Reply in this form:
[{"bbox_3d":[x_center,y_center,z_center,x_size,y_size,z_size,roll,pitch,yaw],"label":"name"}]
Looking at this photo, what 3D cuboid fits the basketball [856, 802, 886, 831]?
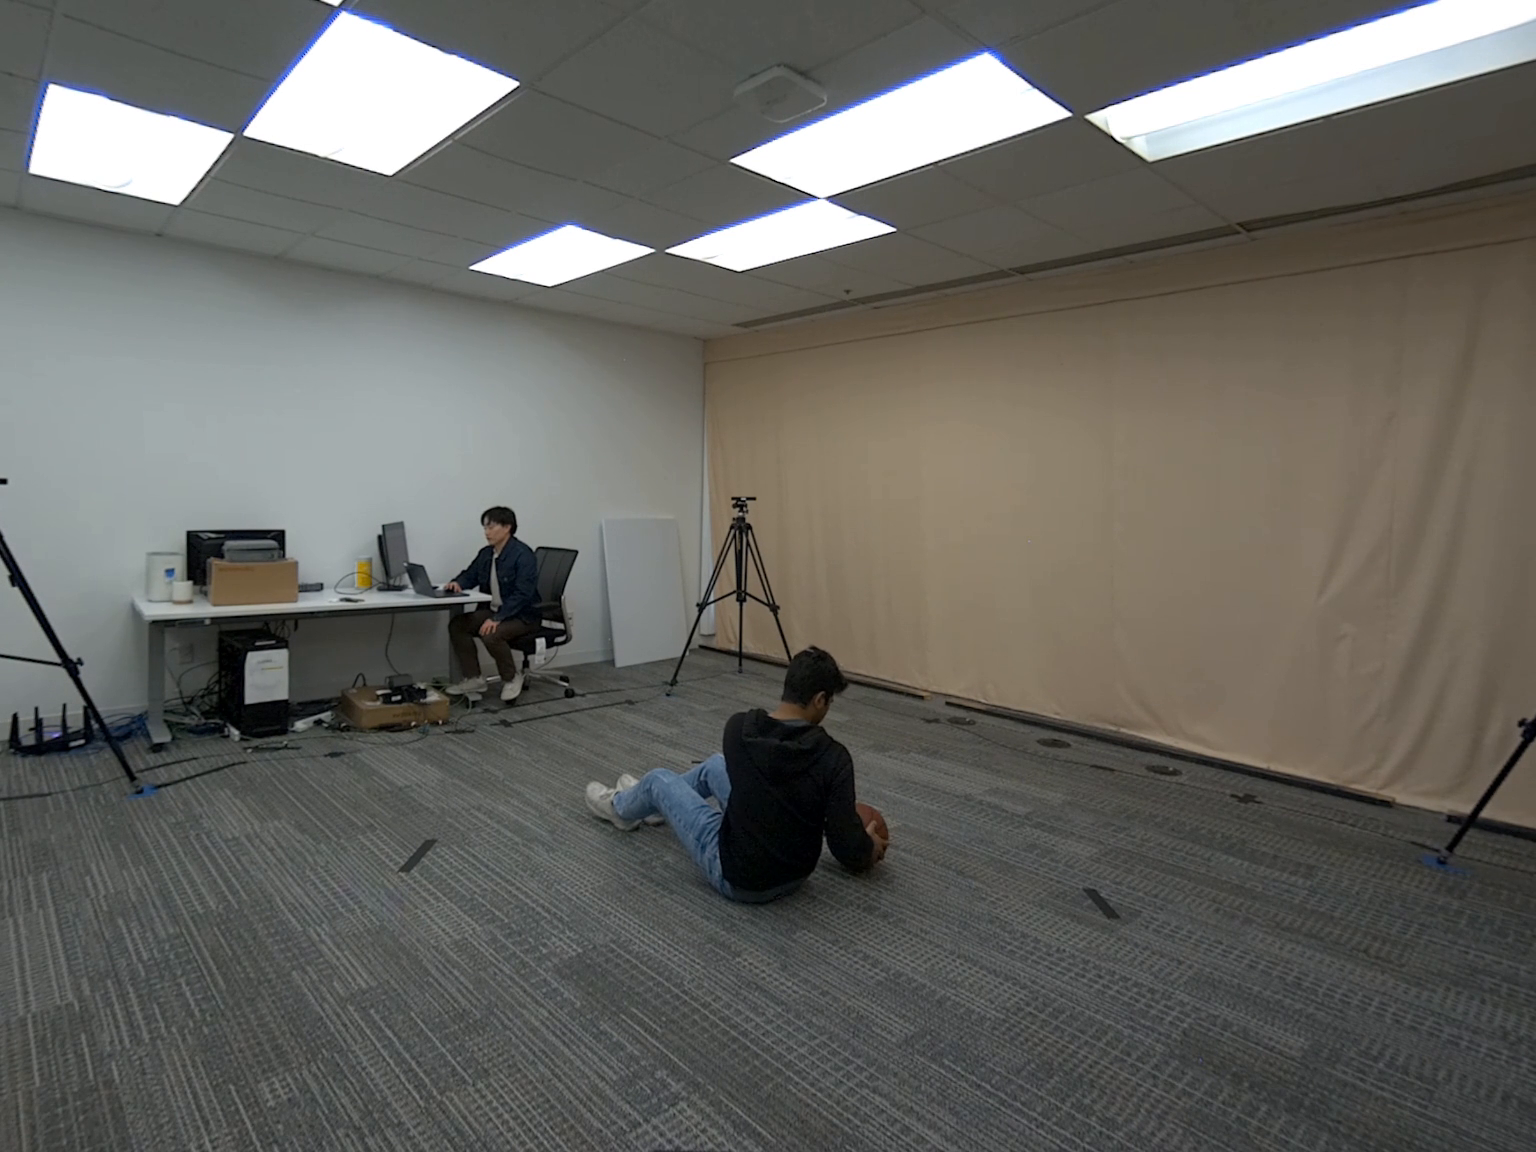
[{"bbox_3d":[0.335,0.980,3.214,0.236,0.235,0.237,1,4,-1],"label":"basketball"}]
